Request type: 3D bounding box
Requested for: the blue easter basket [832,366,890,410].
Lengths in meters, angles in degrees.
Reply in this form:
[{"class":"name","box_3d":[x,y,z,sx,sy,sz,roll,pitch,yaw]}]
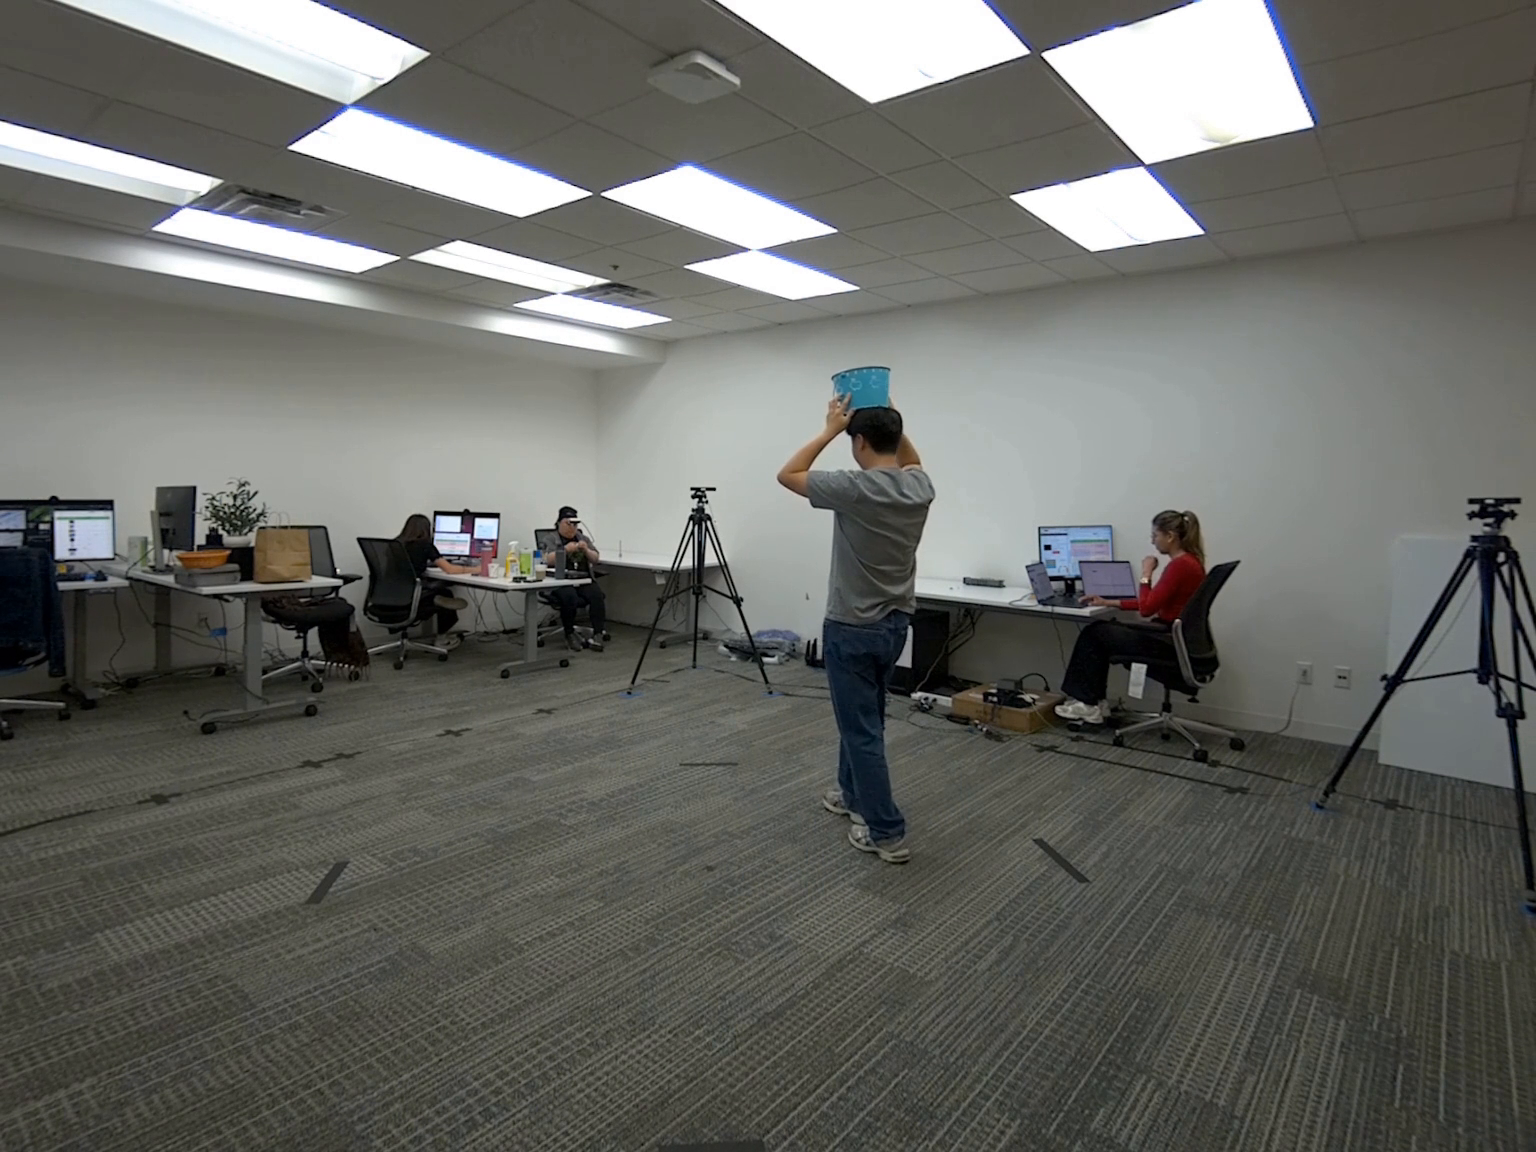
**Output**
[{"class":"blue easter basket","box_3d":[0.378,-0.727,3.344,0.243,0.156,0.244,-4,0,-2]}]
